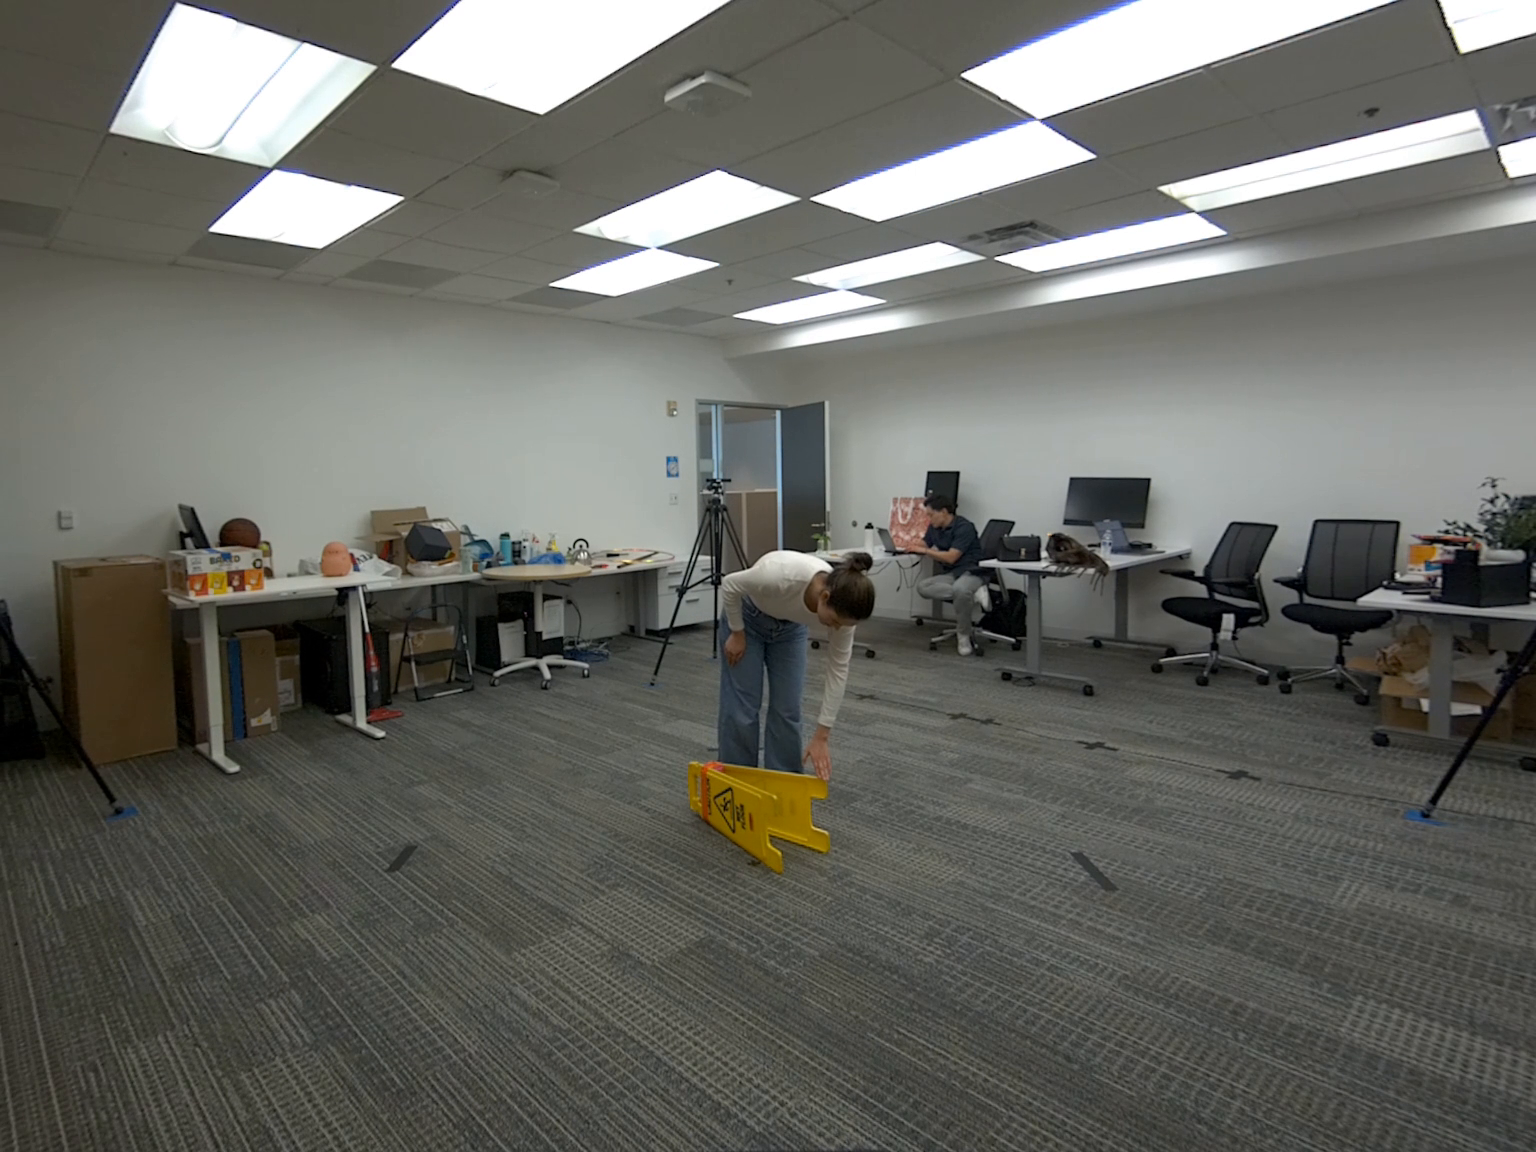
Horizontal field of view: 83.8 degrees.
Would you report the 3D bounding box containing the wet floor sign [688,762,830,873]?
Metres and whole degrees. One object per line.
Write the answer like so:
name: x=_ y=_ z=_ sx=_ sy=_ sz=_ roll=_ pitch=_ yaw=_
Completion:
wet floor sign: x=-0.097 y=0.890 z=3.337 sx=0.282 sy=0.281 sz=0.665 roll=-5 pitch=6 yaw=-43
